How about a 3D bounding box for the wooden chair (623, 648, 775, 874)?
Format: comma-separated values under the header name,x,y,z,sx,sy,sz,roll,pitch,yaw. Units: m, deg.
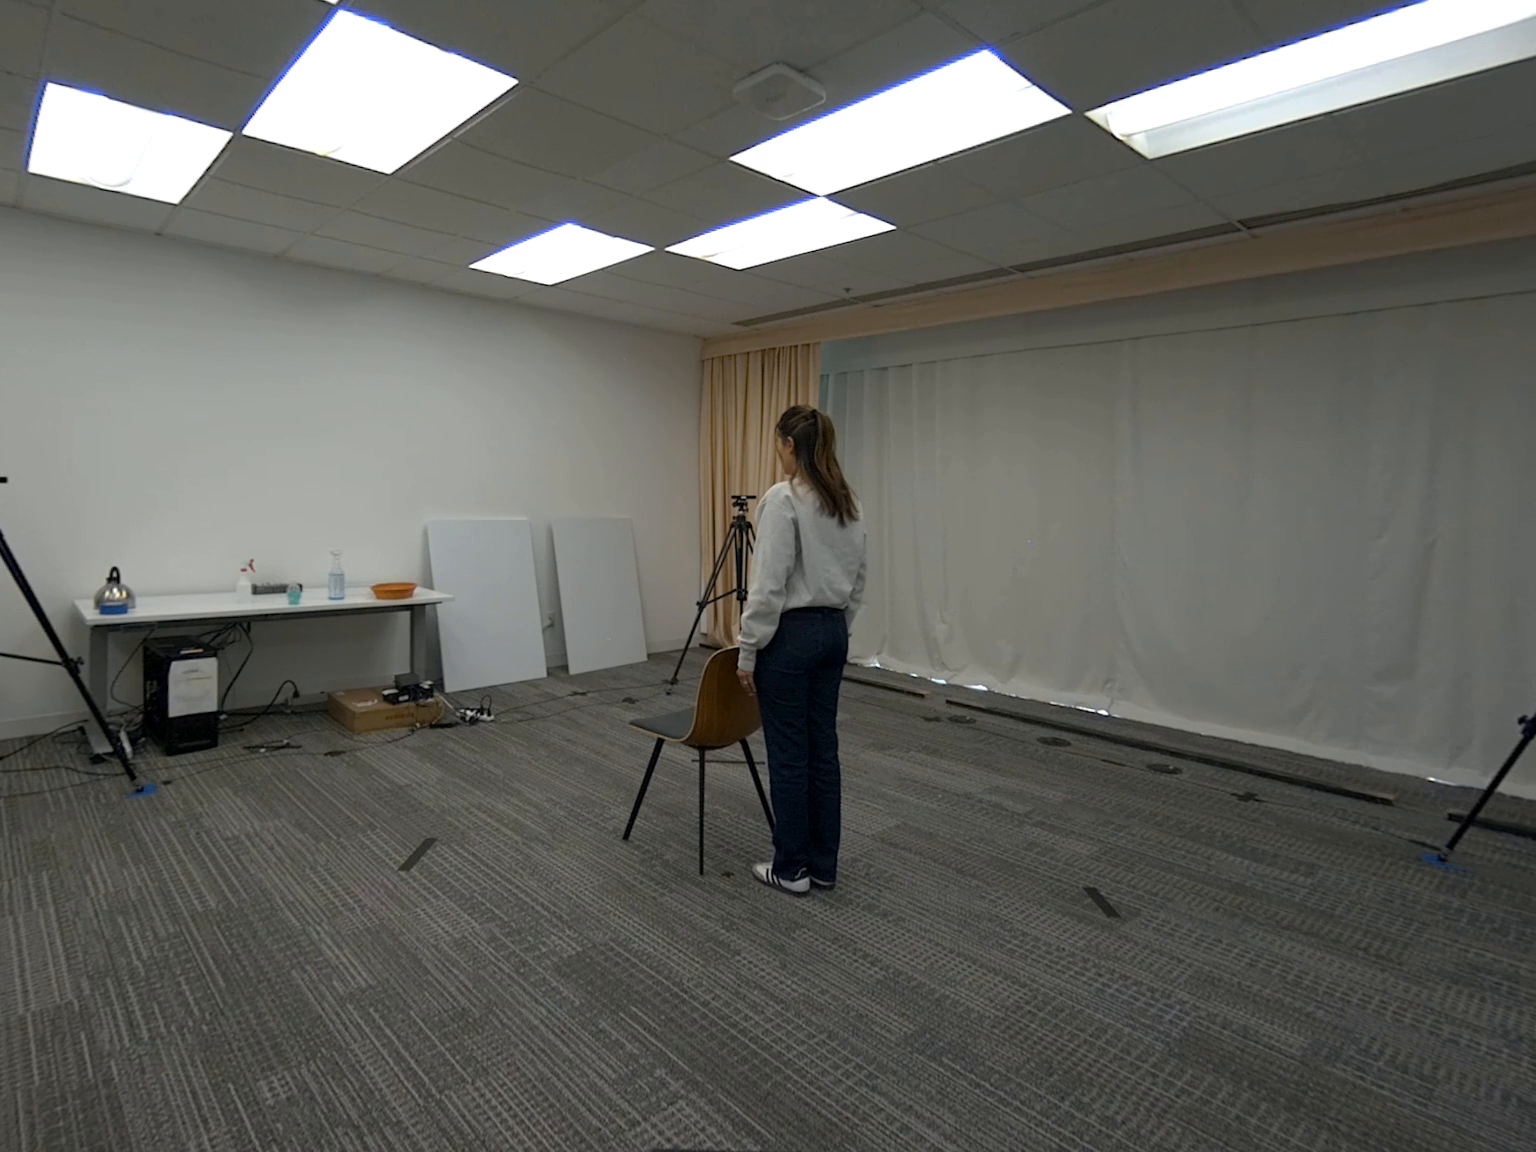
name,x,y,z,sx,sy,sz,roll,pitch,yaw
wooden chair,-0.270,0.647,3.374,0.537,0.873,0.467,10,9,41
